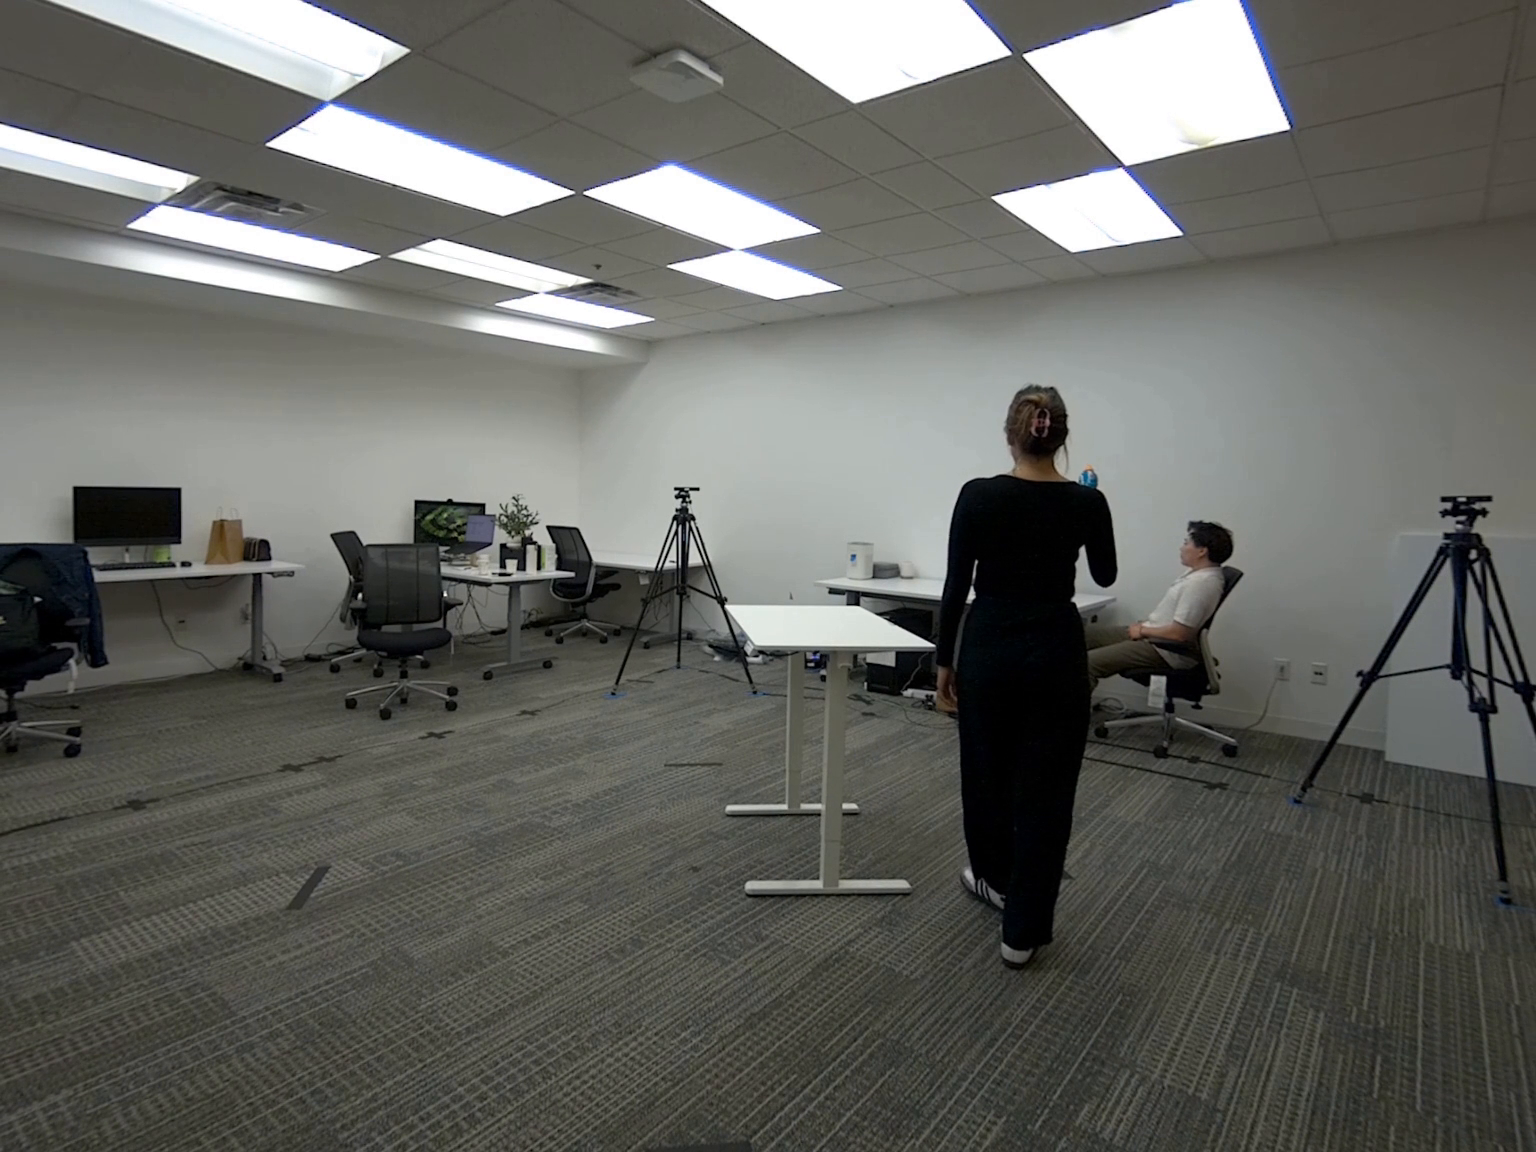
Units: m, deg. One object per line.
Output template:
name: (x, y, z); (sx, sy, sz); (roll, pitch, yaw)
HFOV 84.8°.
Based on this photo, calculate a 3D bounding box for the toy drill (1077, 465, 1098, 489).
toy drill: (1.076, -0.309, 2.919); (0.062, 0.142, 0.173); (12, 47, 5)
